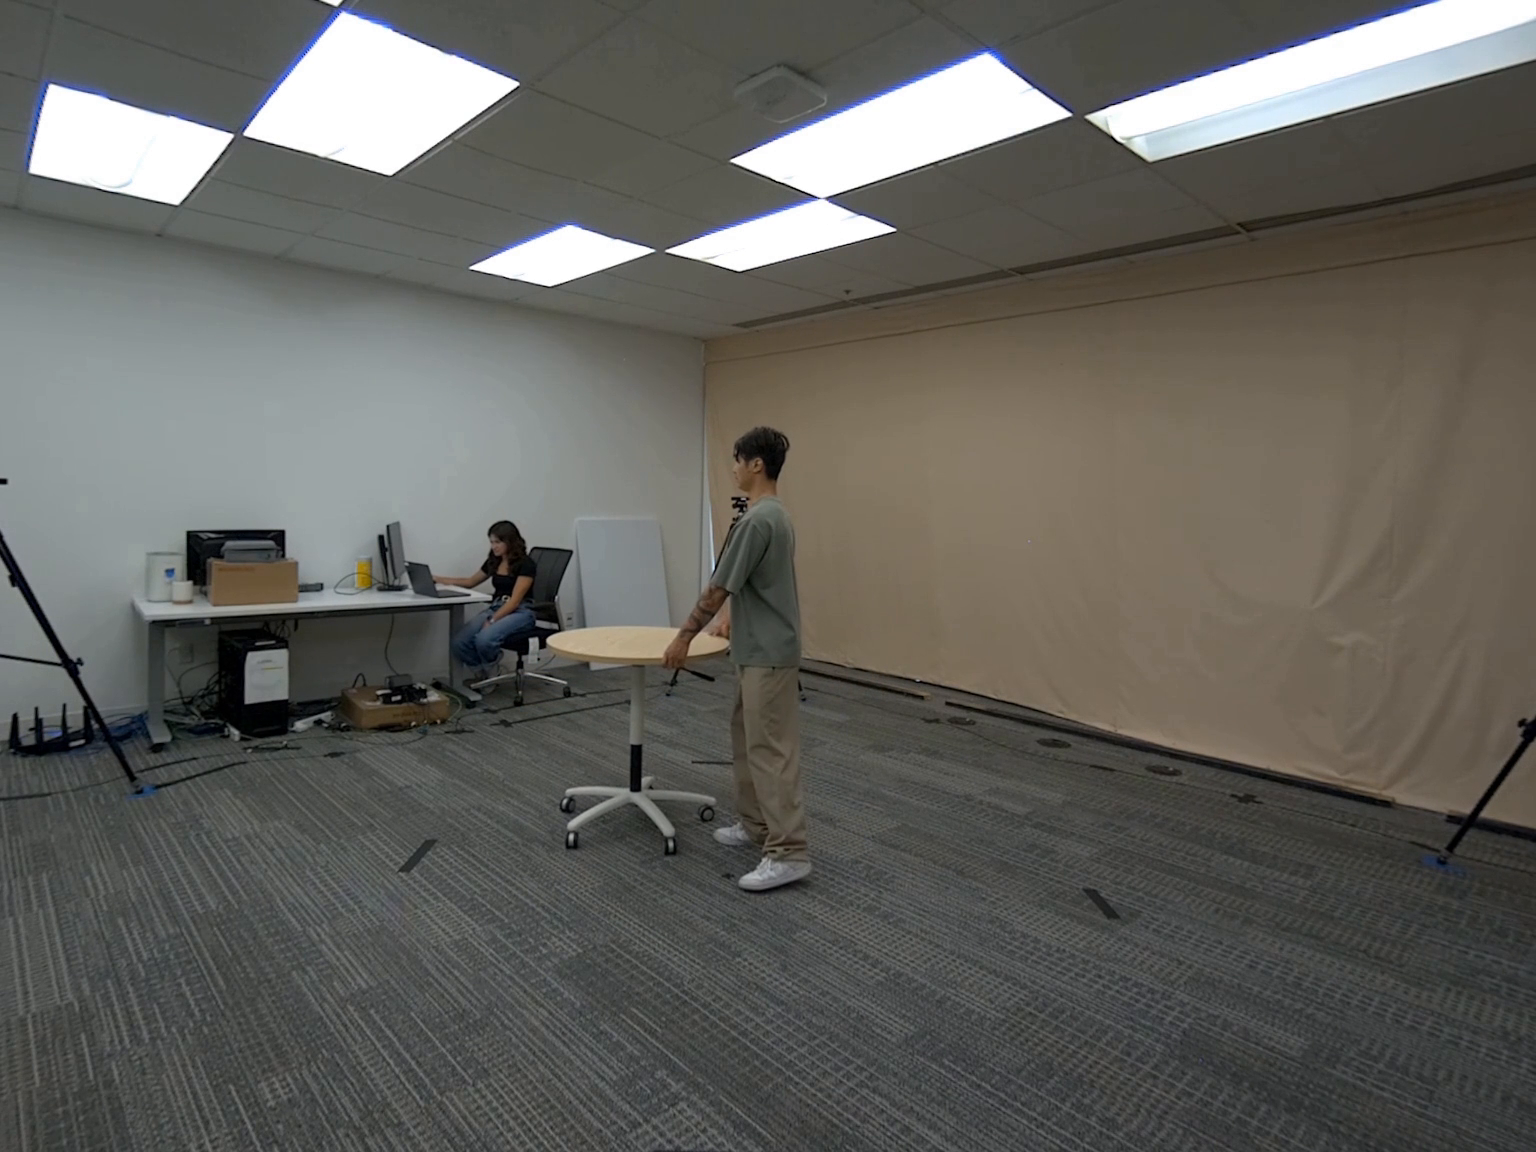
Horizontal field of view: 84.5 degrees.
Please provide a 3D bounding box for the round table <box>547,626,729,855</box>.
[{"bbox_3d":[-0.574,0.658,3.572,0.784,0.784,0.788,2,4,-2],"label":"round table"}]
